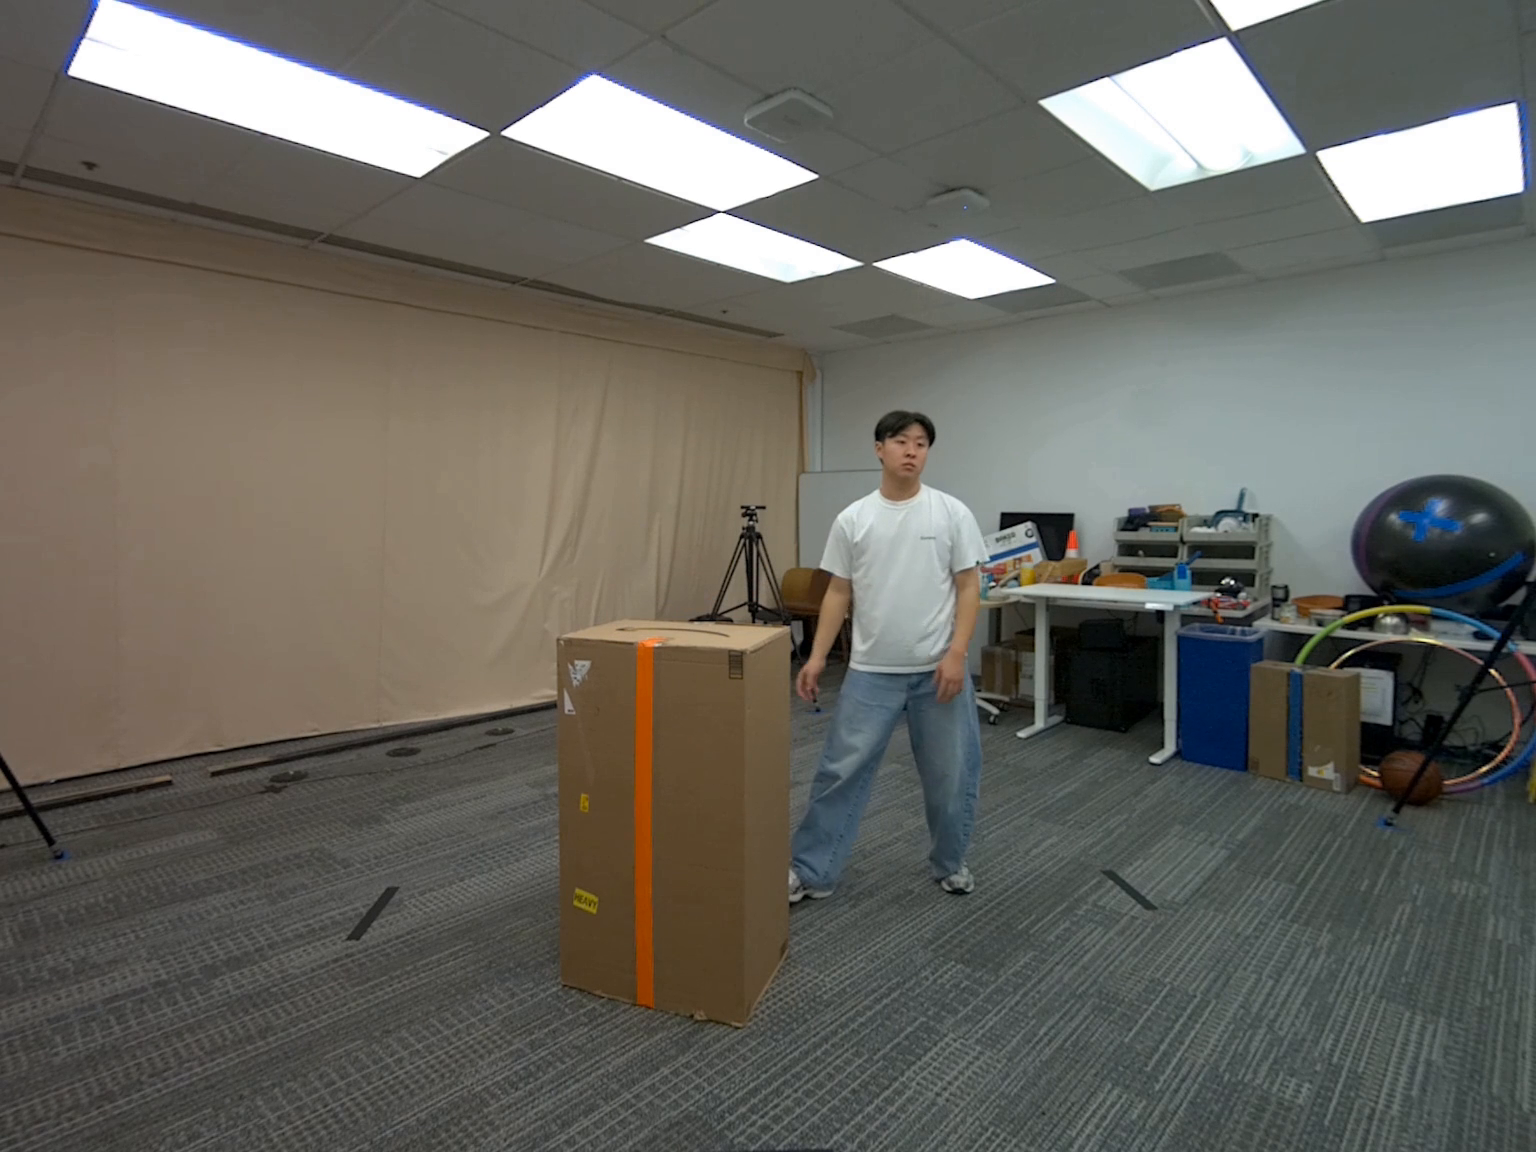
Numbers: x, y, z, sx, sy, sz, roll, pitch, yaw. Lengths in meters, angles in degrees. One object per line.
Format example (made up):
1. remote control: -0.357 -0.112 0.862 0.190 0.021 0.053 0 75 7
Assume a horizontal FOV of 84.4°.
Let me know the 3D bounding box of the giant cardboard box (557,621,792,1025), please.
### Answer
1. giant cardboard box: -0.265 0.675 2.506 0.591 1.024 0.417 1 3 21
